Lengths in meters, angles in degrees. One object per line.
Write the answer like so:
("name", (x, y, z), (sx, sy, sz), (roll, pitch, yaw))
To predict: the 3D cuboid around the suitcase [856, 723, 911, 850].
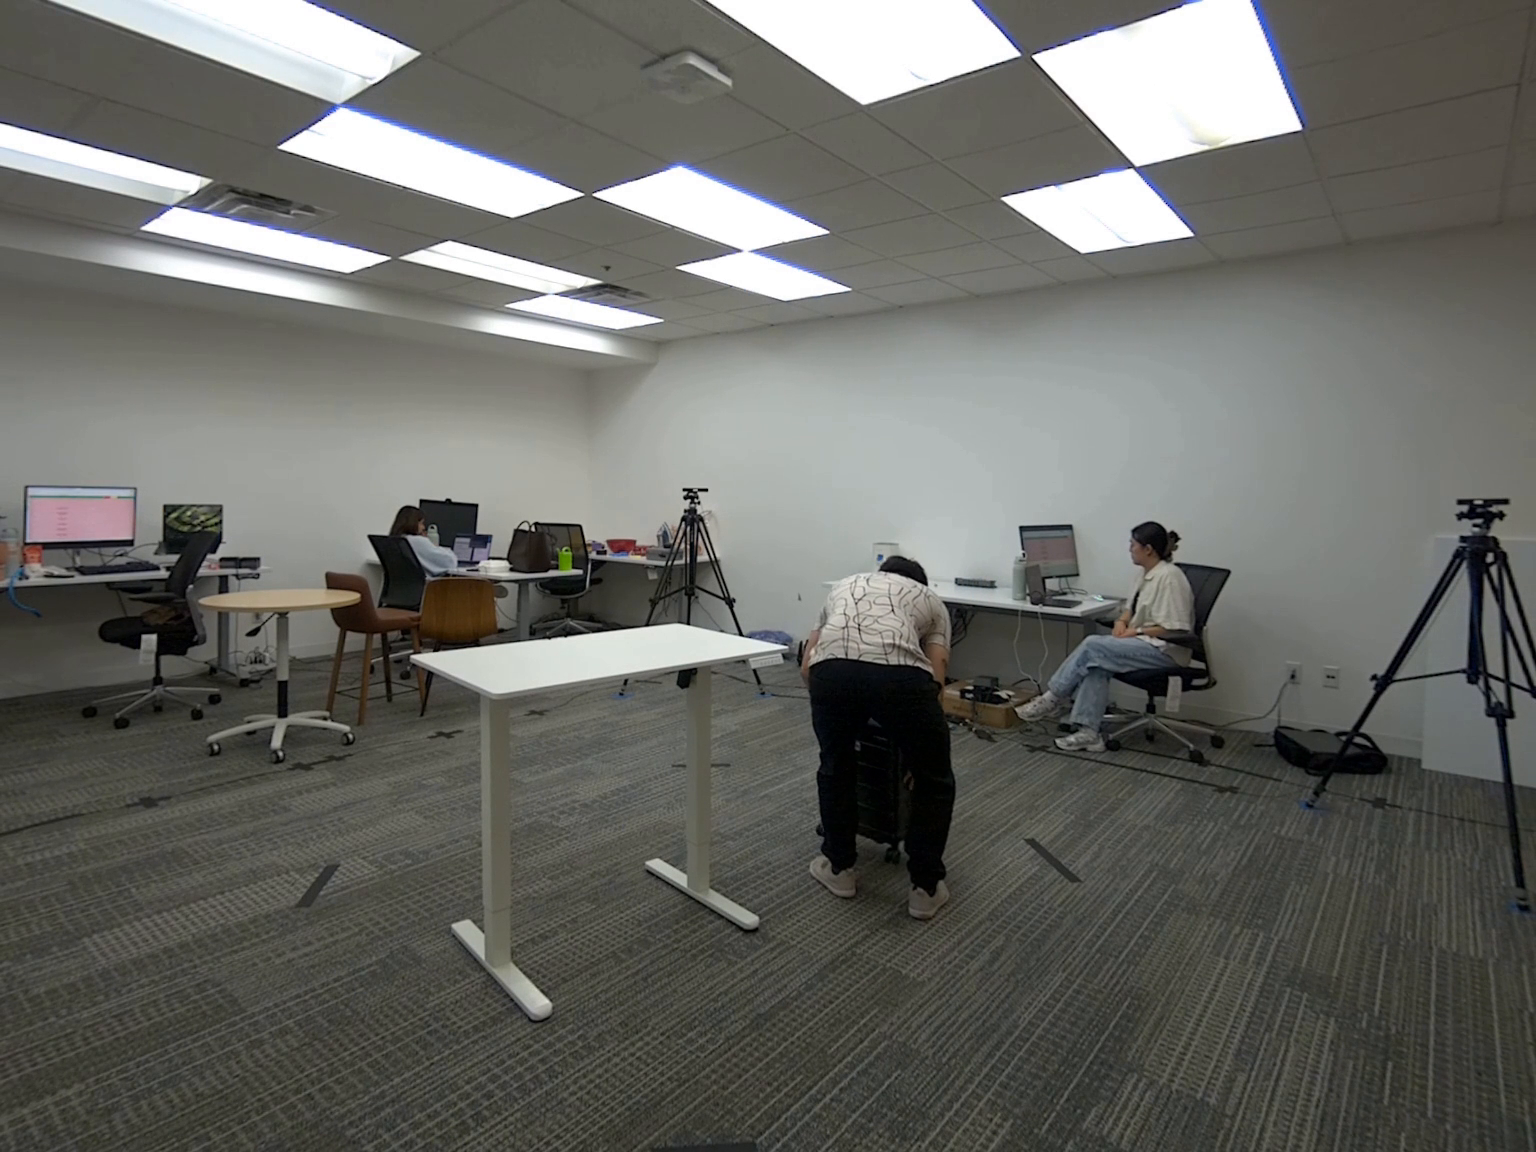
("suitcase", (0.402, 0.723, 3.231), (0.388, 0.545, 0.242), (6, 10, 38))
